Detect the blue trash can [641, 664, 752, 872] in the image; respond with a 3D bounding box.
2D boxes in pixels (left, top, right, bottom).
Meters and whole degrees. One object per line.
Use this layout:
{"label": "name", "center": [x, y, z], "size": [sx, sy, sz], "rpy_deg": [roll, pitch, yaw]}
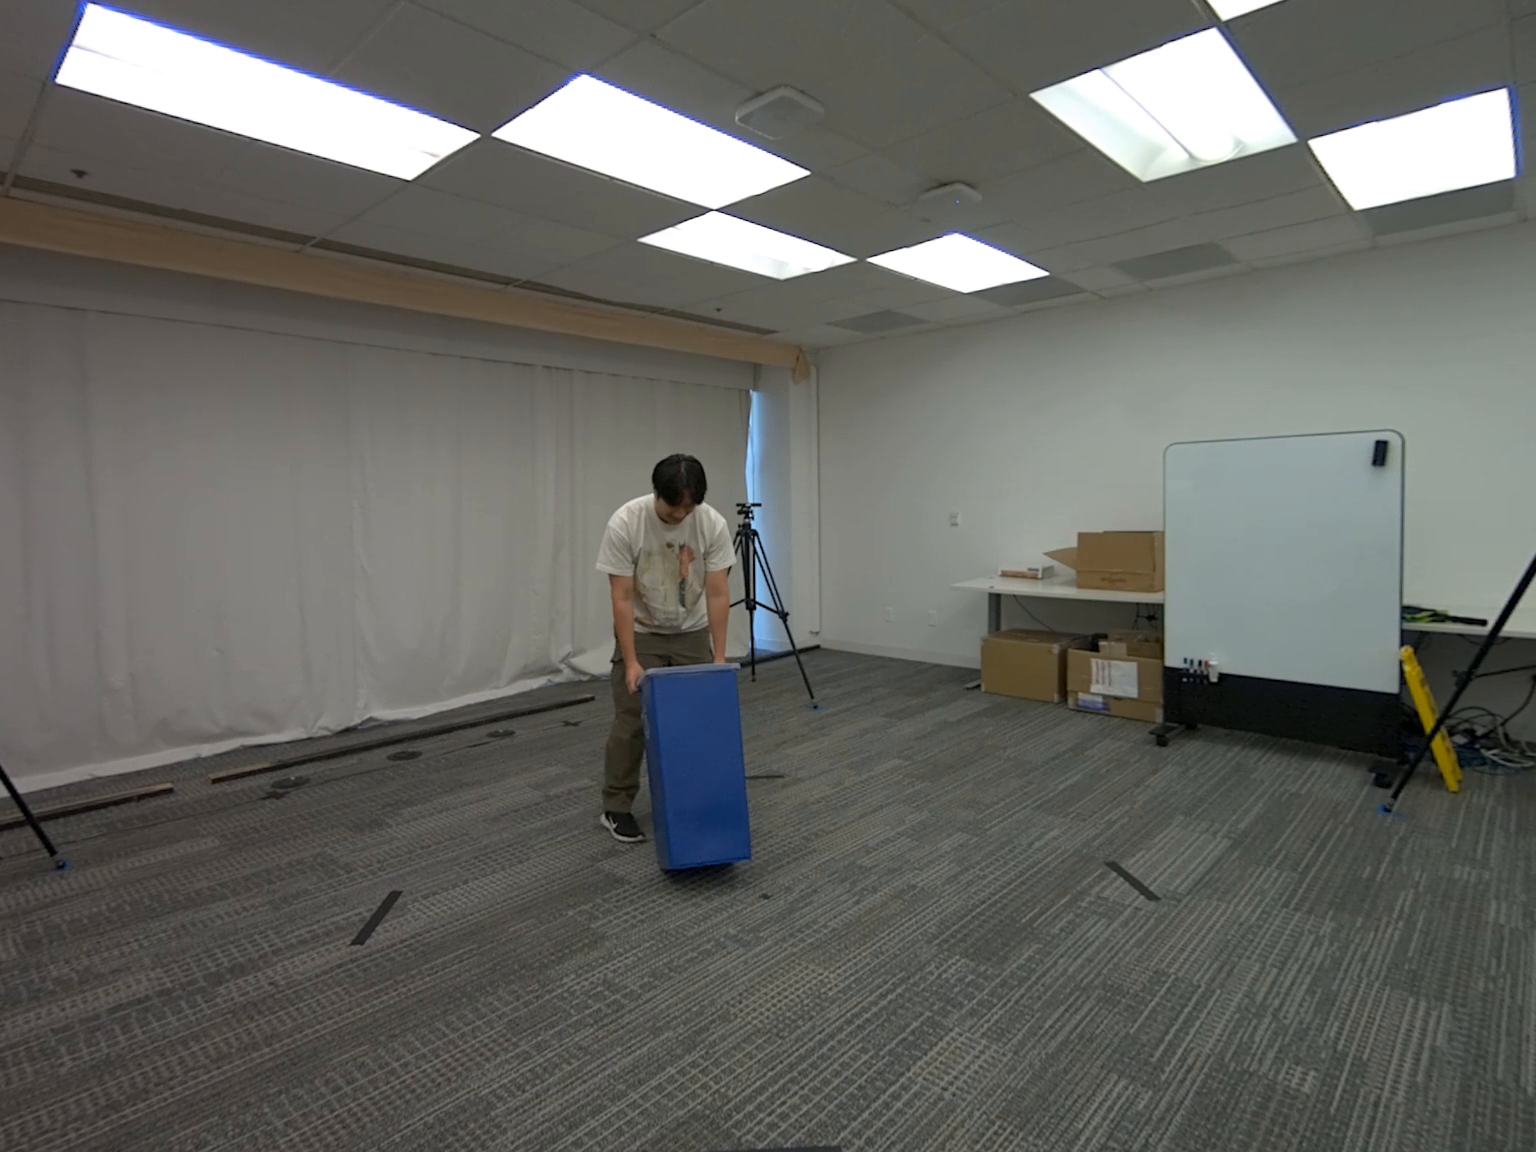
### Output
{"label": "blue trash can", "center": [-0.272, 0.728, 3.235], "size": [0.372, 0.723, 0.375], "rpy_deg": [-3, -19, -17]}
